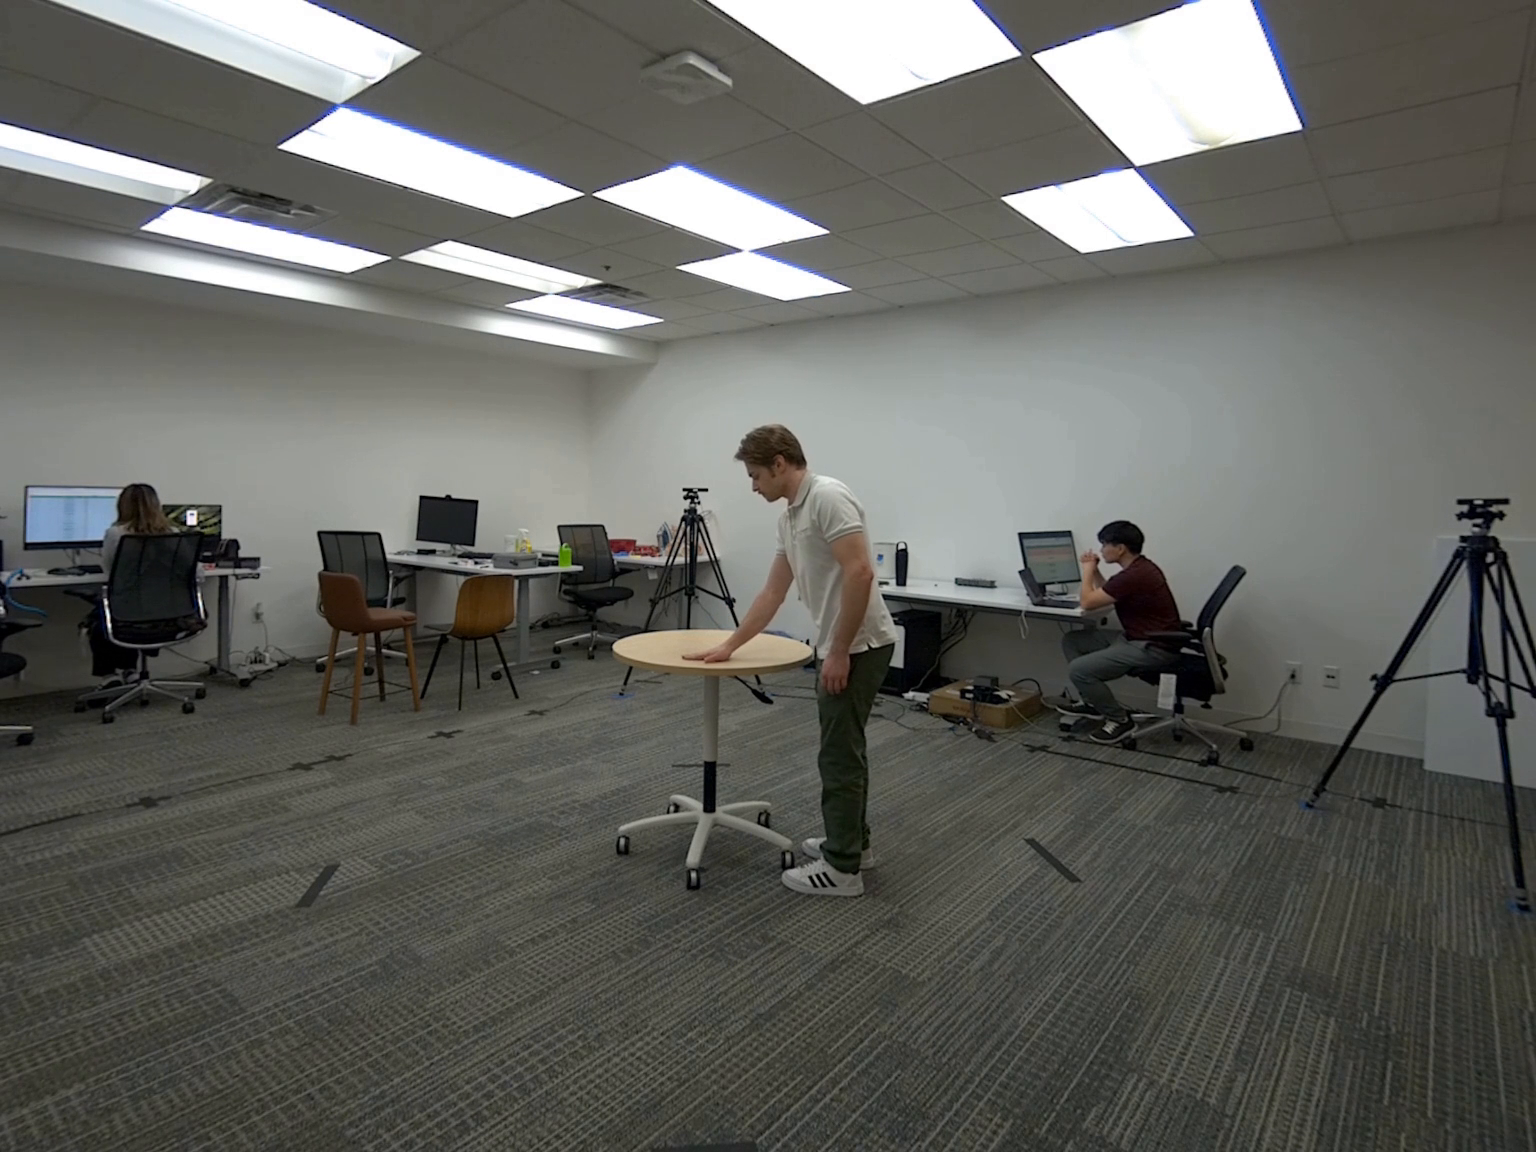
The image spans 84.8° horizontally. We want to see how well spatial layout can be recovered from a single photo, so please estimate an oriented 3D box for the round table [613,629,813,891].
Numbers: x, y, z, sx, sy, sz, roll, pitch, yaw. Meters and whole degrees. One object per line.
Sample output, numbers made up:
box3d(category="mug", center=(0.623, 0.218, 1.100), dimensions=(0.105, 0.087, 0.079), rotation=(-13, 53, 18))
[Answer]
box3d(category="round table", center=(-0.239, 0.657, 3.305), dimensions=(0.784, 0.784, 0.789), rotation=(1, 4, -2))
